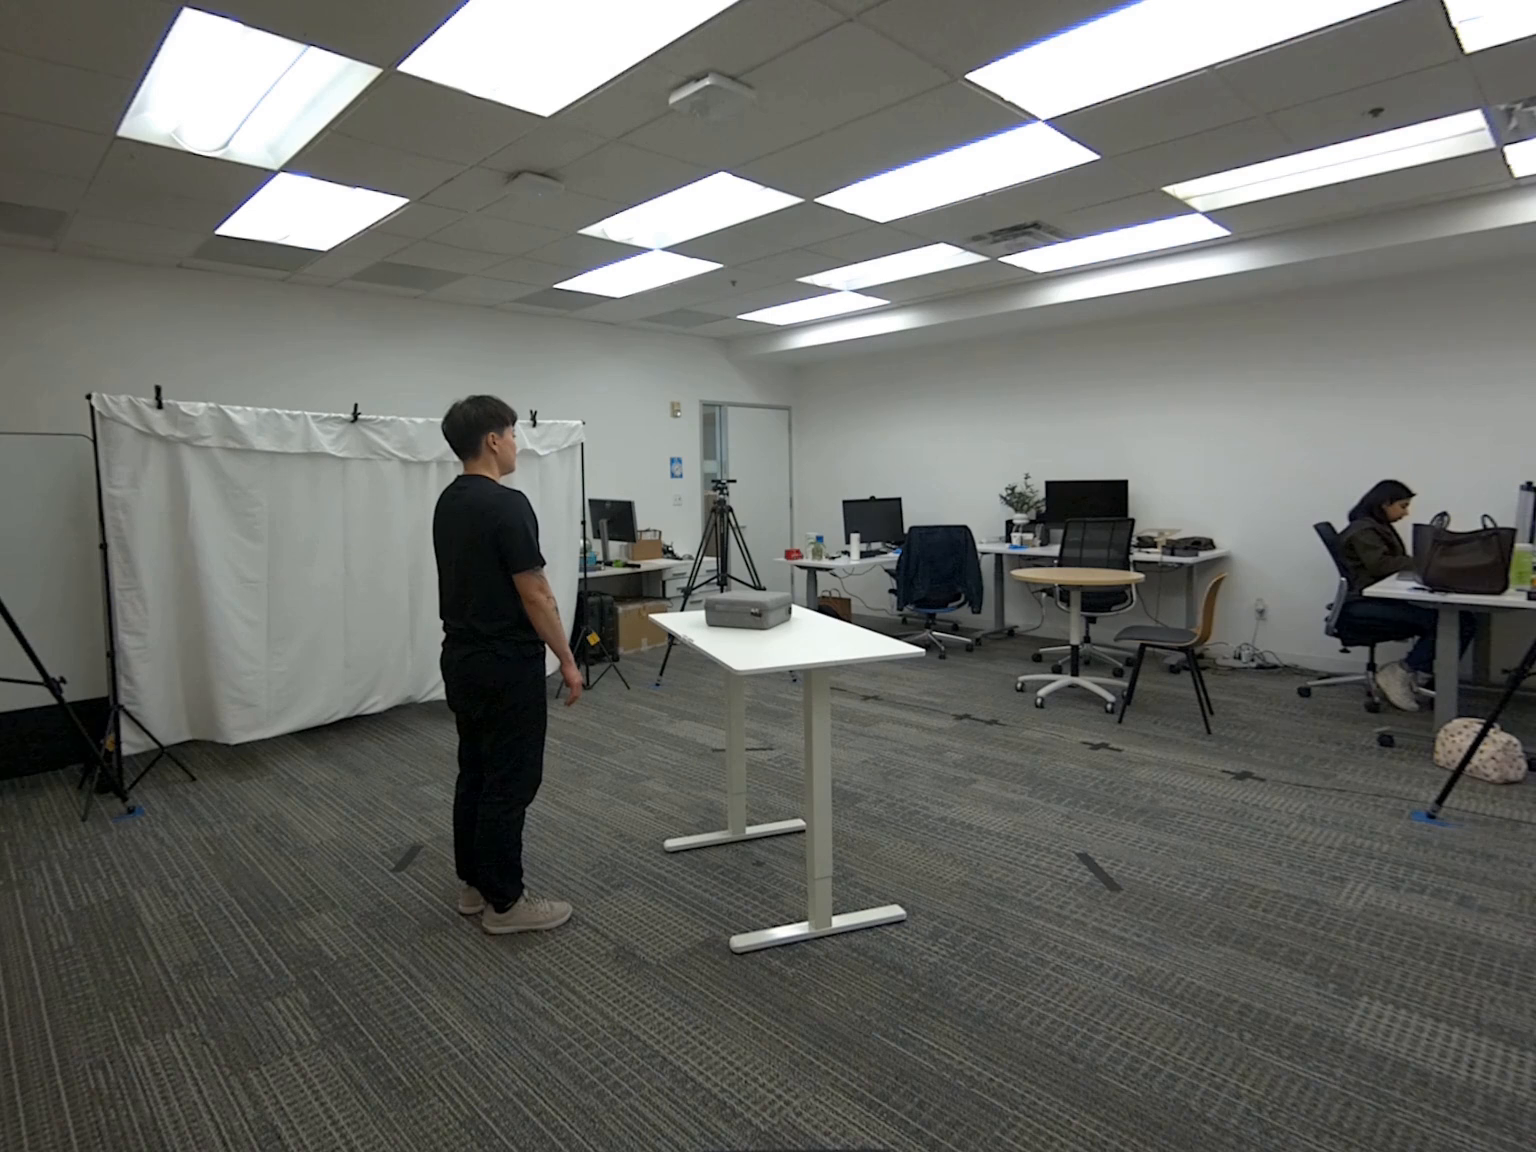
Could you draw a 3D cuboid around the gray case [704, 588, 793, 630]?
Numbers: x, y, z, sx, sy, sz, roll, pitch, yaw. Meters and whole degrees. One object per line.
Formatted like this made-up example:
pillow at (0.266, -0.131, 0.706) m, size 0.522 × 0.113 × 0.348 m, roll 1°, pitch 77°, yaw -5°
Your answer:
gray case at (-0.067, 0.115, 3.067) m, size 0.263 × 0.104 × 0.256 m, roll 1°, pitch 6°, yaw 25°
